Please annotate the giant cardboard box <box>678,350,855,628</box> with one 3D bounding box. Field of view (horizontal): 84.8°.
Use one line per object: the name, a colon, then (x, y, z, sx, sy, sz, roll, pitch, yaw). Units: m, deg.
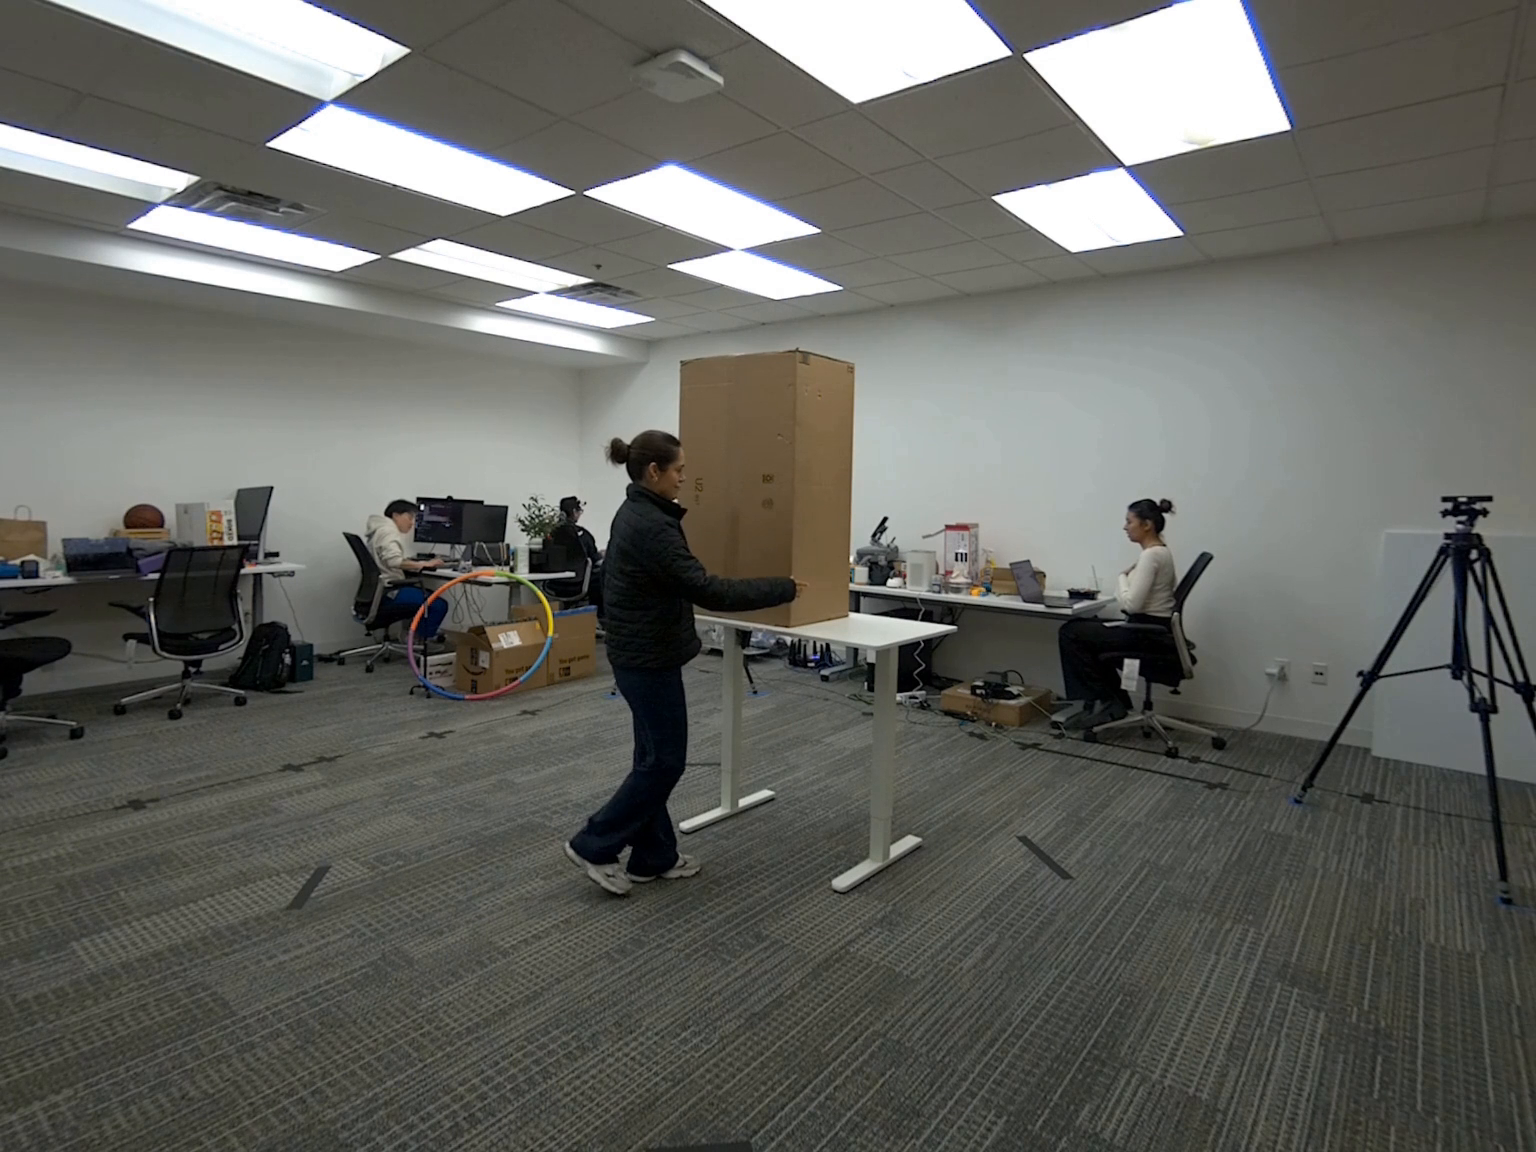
giant cardboard box: (0.006, -0.356, 3.457, 0.597, 1.023, 0.413, 4, 4, 38)
